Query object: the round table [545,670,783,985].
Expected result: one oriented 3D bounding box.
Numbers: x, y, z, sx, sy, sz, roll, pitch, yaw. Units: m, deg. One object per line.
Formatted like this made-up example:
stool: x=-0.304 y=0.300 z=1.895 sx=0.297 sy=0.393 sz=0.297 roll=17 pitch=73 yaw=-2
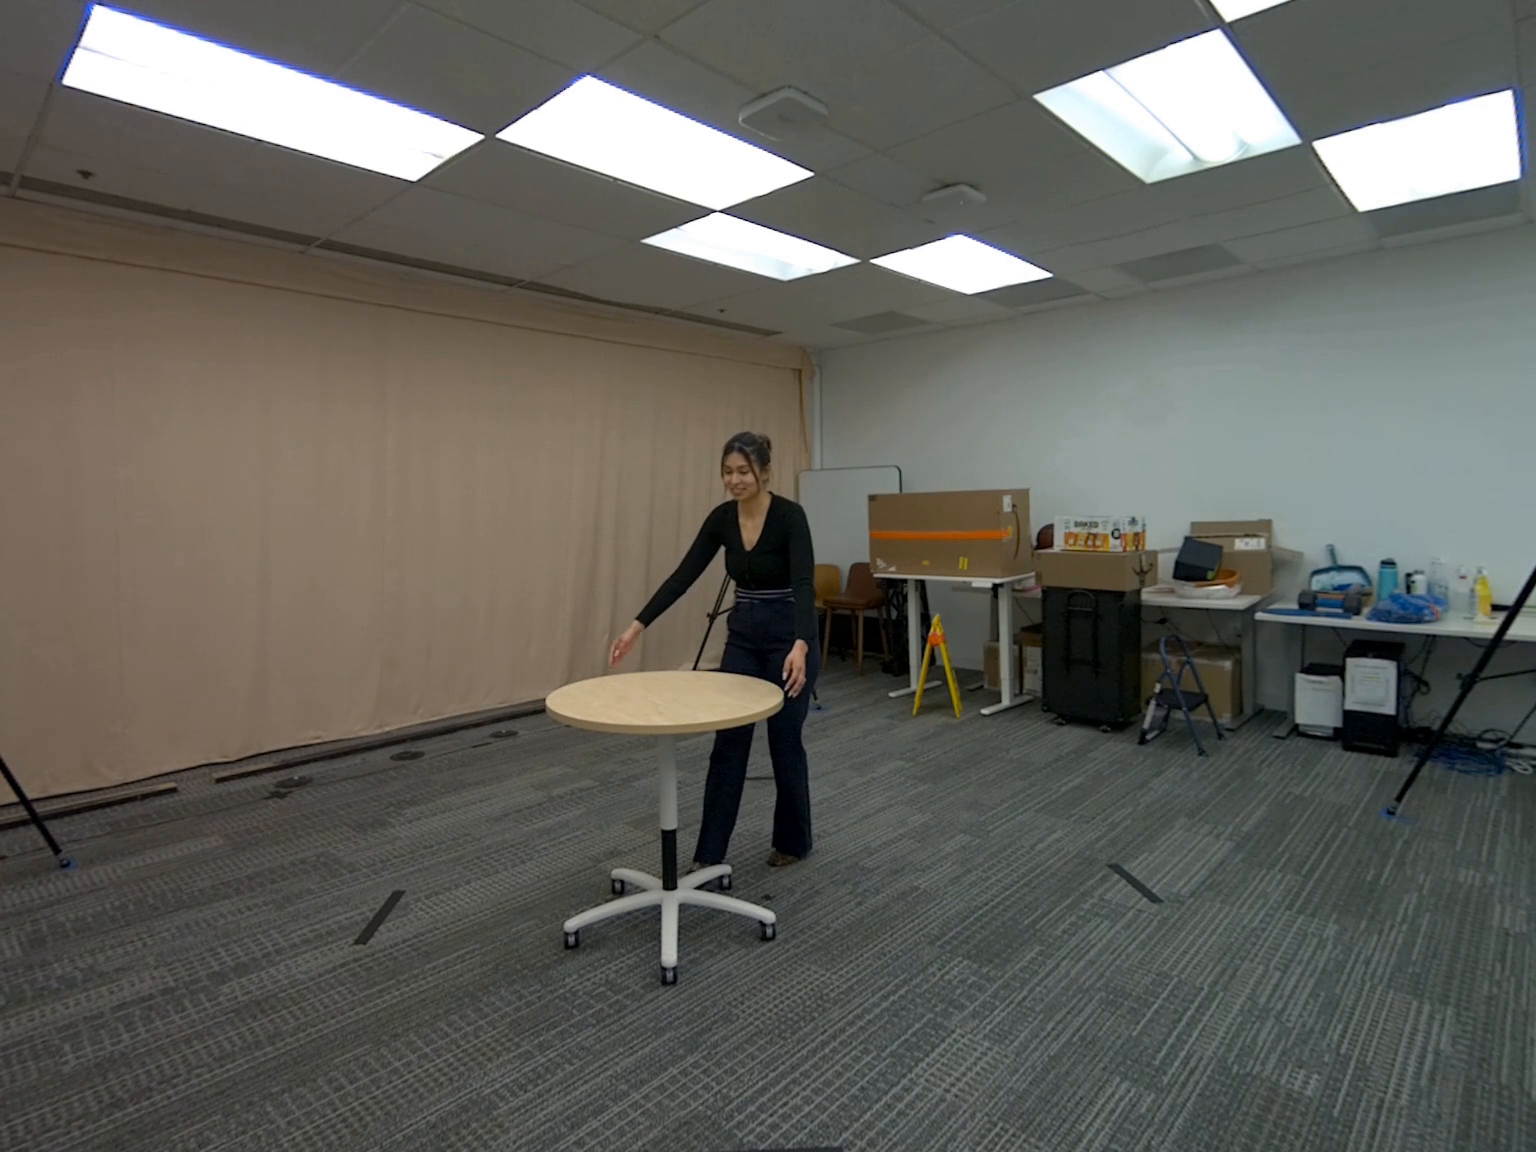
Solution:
round table: x=-0.325 y=0.779 z=2.747 sx=0.763 sy=0.792 sz=0.767 roll=-1 pitch=4 yaw=-2
